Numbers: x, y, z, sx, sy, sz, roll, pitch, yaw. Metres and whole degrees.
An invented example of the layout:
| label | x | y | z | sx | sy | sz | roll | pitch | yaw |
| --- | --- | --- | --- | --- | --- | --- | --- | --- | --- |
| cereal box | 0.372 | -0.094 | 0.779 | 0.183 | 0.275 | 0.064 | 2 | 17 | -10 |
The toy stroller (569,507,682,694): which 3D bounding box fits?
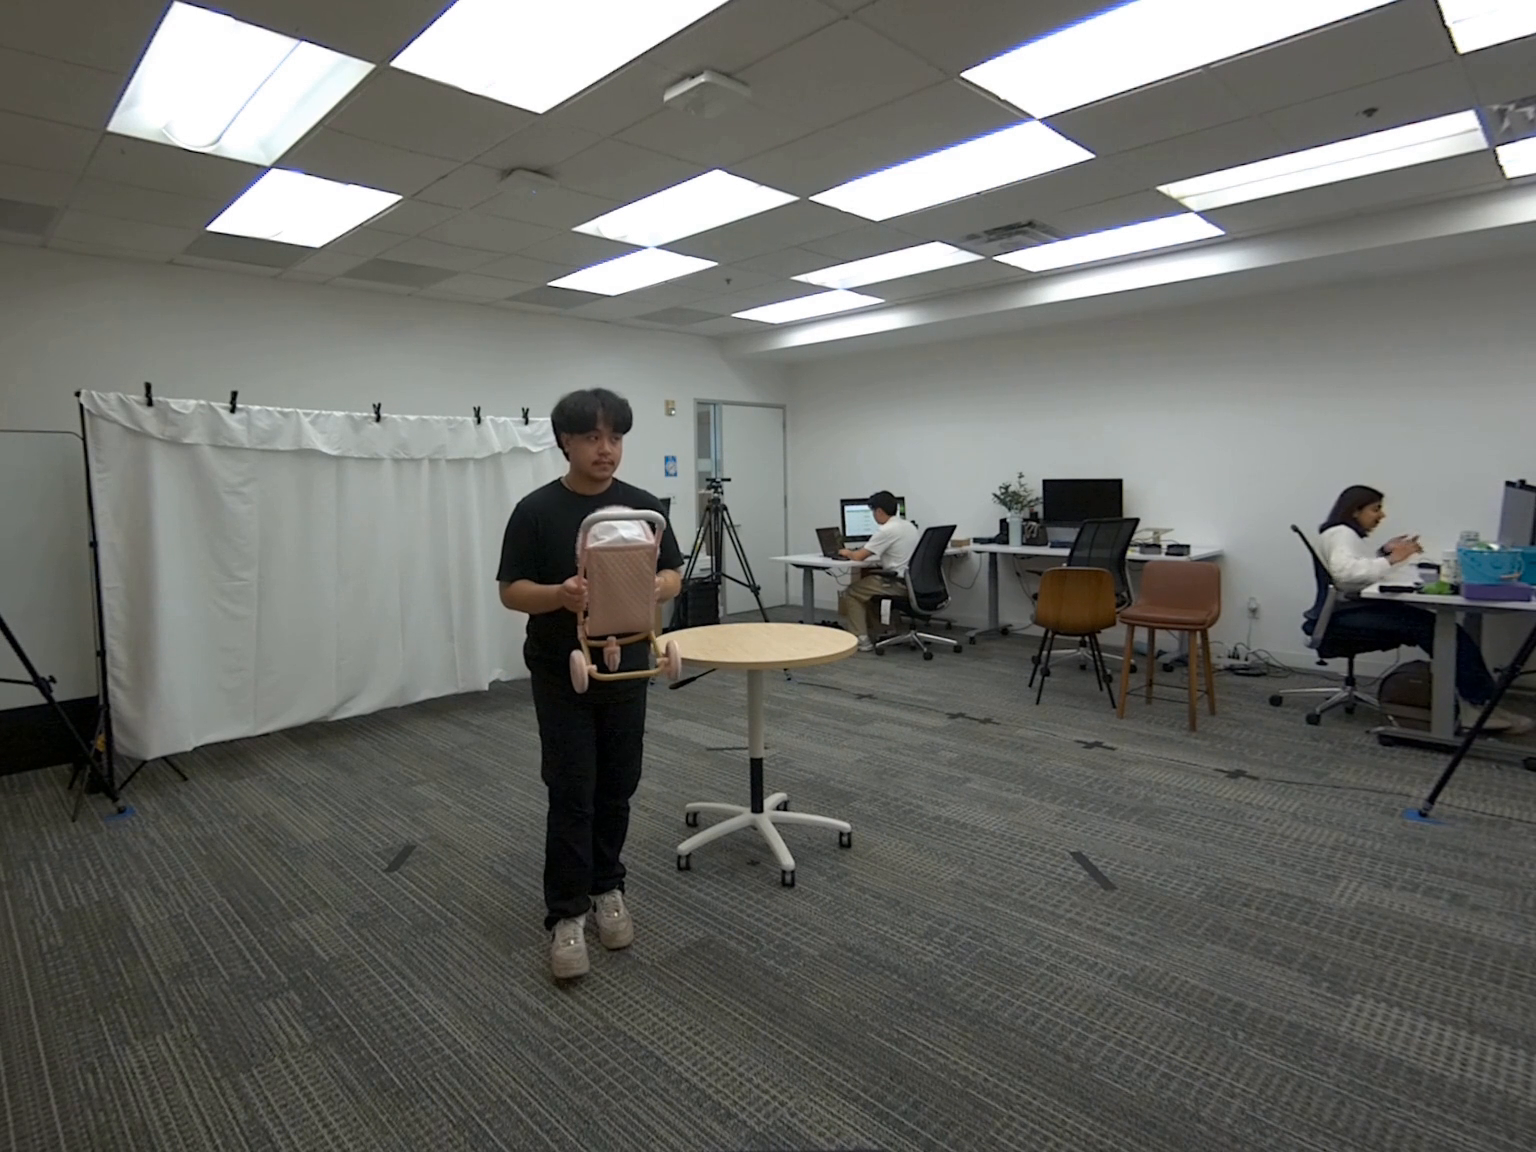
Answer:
| label | x | y | z | sx | sy | sz | roll | pitch | yaw |
| --- | --- | --- | --- | --- | --- | --- | --- | --- | --- |
| toy stroller | -0.407 | 0.059 | 2.273 | 0.278 | 0.528 | 0.350 | -2 | 15 | -14 |
